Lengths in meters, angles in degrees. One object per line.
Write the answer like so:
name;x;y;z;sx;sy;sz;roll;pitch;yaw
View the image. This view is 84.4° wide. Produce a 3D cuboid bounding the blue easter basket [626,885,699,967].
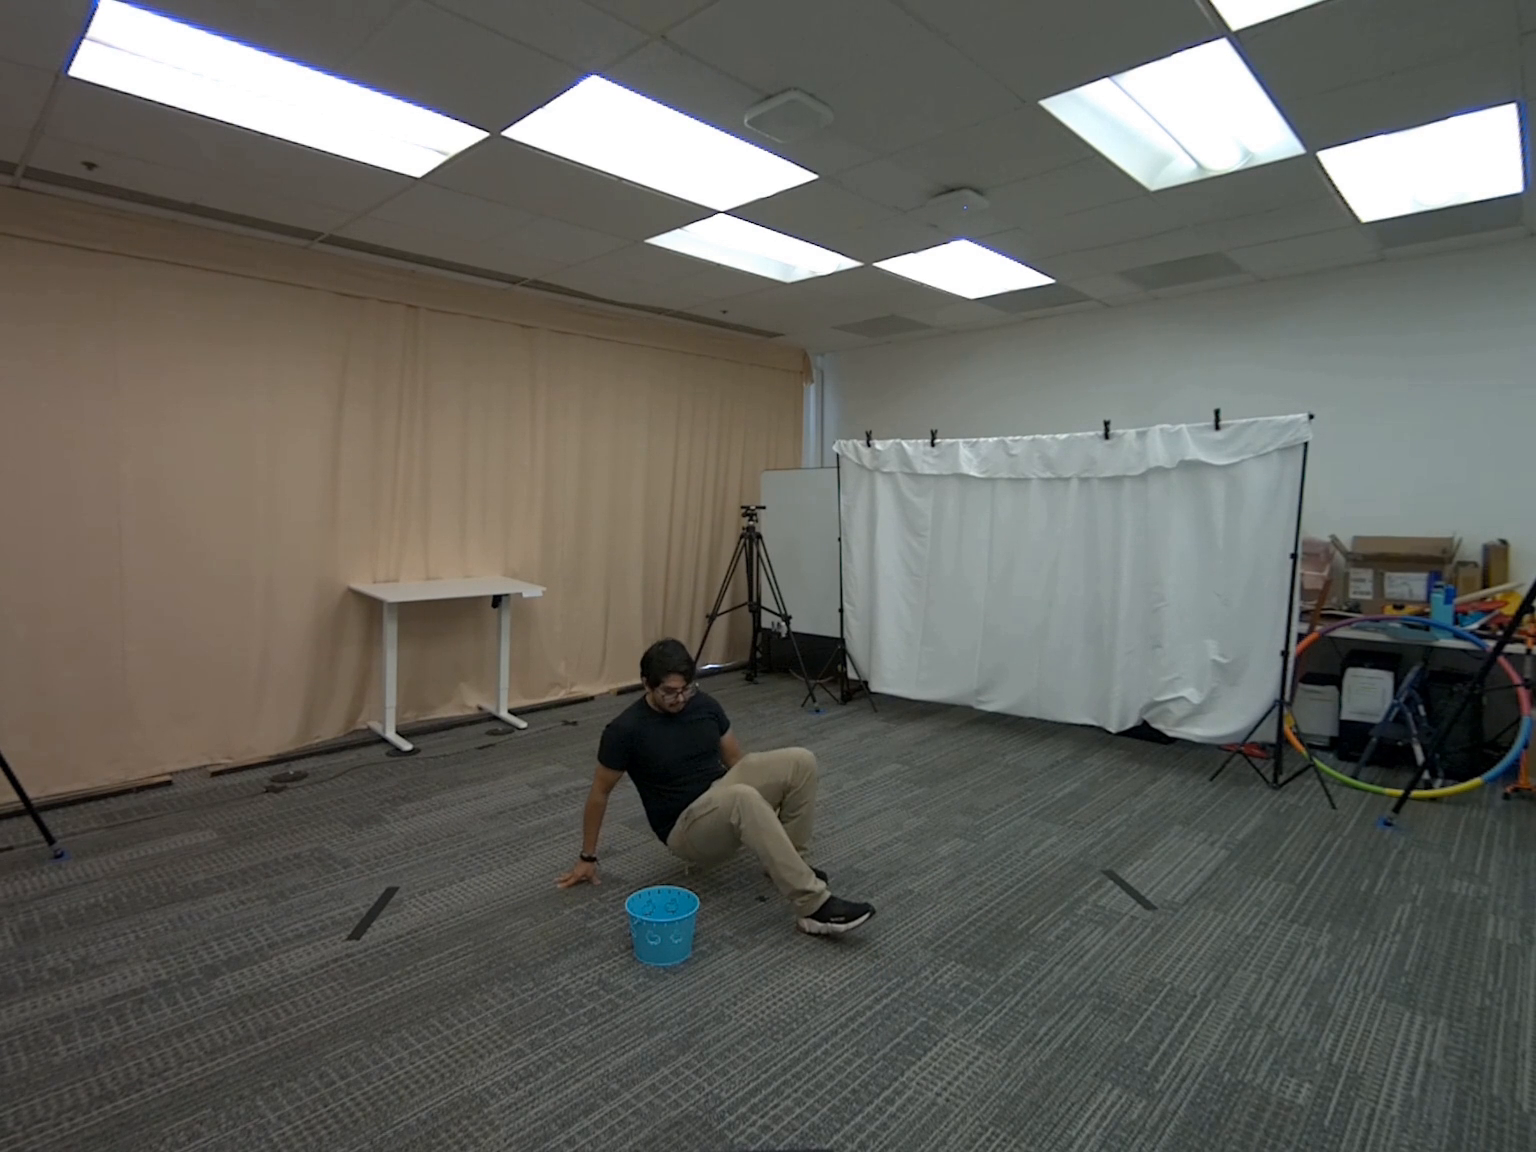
blue easter basket;-0.333;1.091;2.645;0.243;0.155;0.244;-1;4;-2
